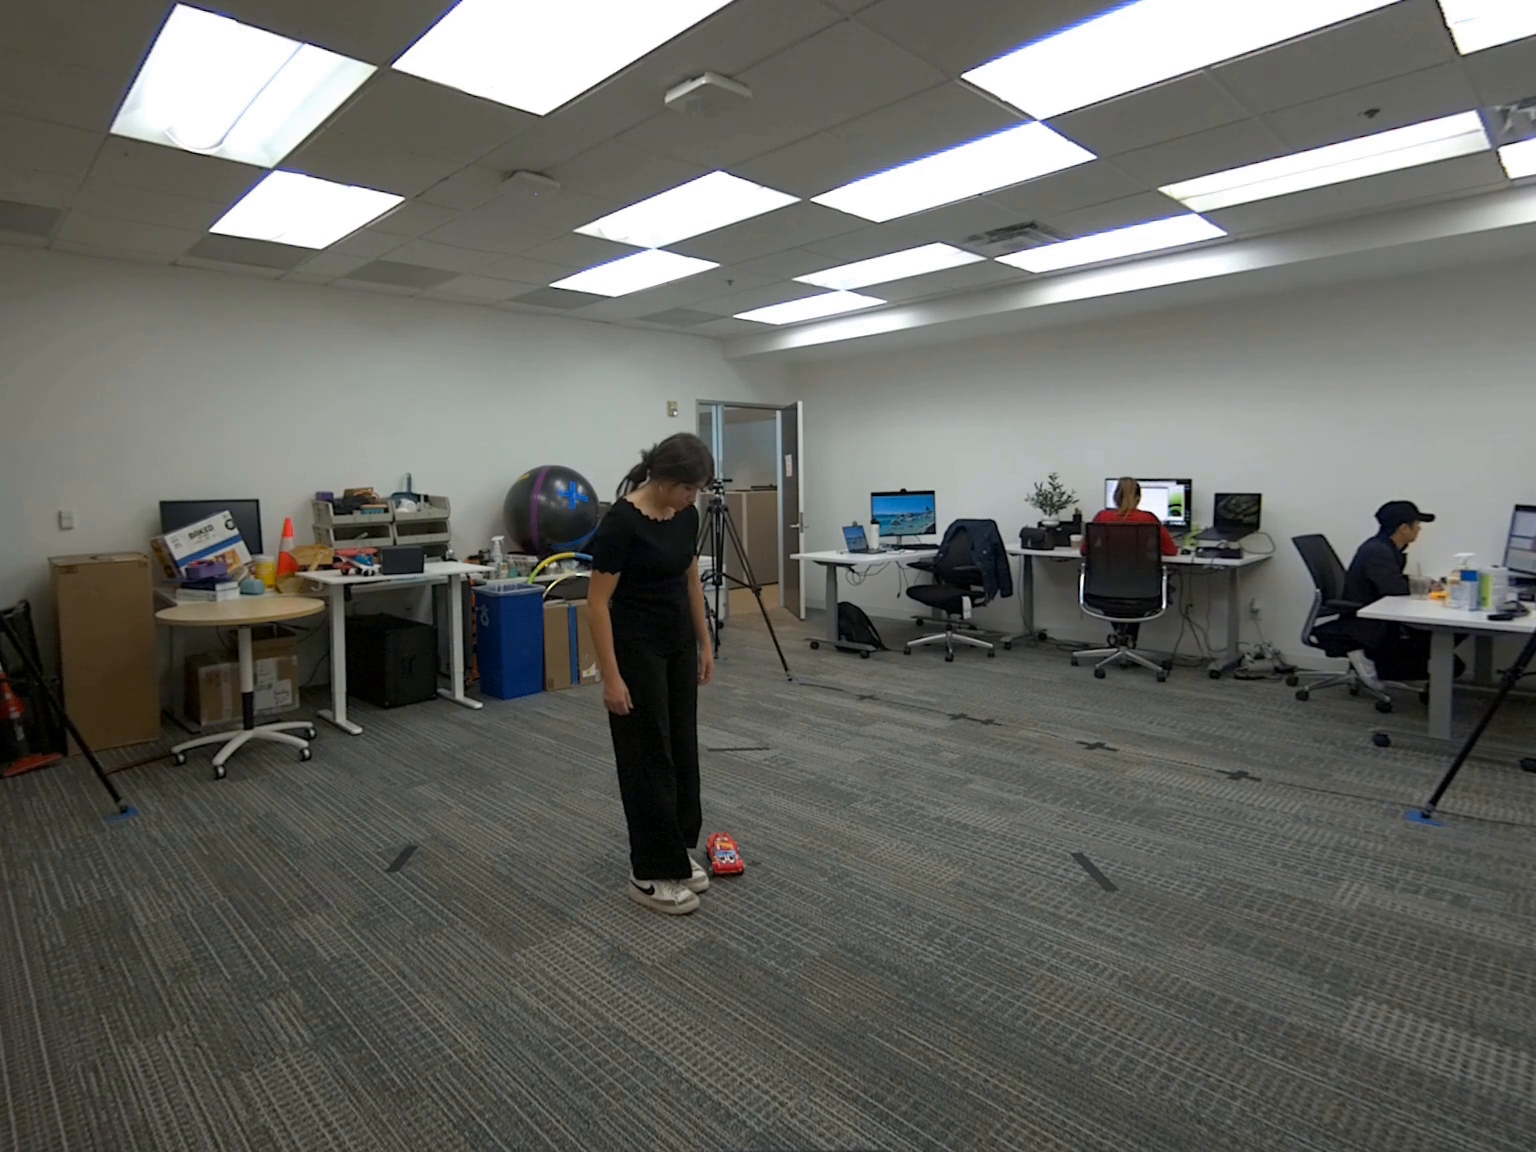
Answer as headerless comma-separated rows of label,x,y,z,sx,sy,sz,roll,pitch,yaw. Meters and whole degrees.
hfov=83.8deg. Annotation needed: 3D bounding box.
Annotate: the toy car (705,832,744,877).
toy car,-0.163,1.014,3.109,0.129,0.082,0.260,-1,18,-9
